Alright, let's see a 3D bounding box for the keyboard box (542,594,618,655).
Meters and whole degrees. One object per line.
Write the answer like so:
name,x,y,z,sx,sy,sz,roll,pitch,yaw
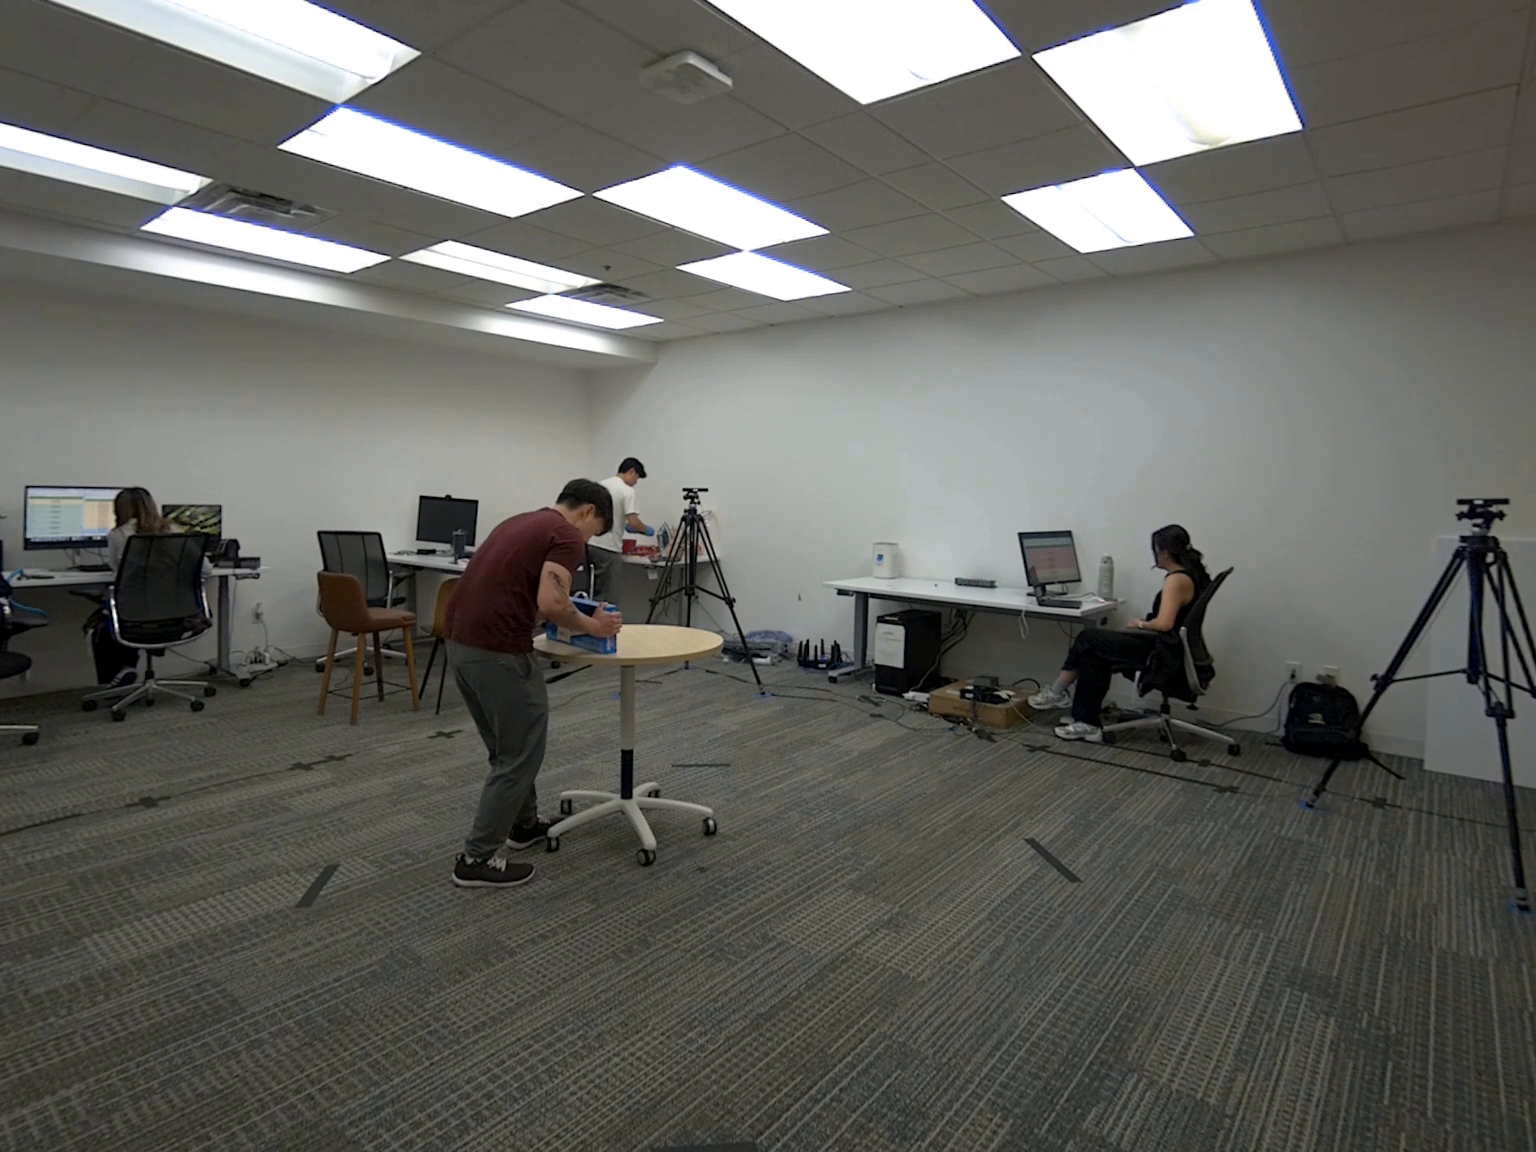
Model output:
keyboard box,-0.738,0.185,3.268,0.057,0.175,0.452,0,4,-42
